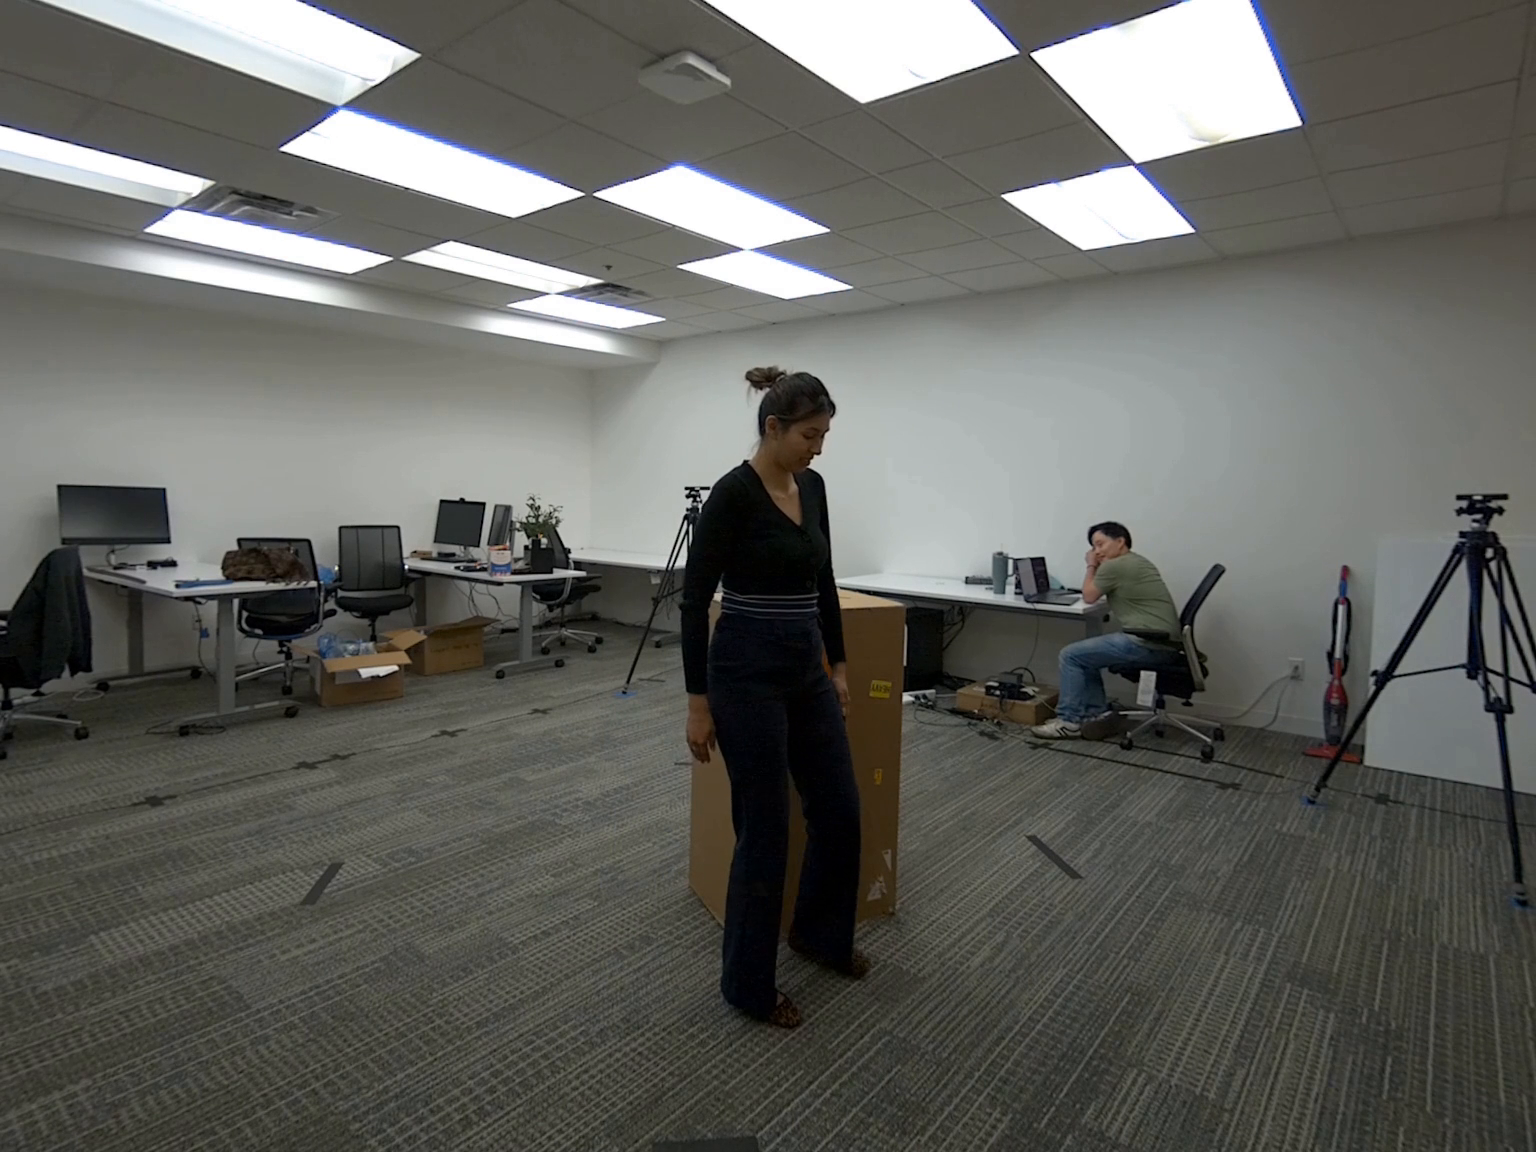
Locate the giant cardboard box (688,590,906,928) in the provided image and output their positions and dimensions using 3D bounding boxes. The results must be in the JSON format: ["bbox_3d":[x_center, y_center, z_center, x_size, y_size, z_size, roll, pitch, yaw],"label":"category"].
[{"bbox_3d":[0.079,0.583,2.856,0.564,1.023,0.438,0,3,-25],"label":"giant cardboard box"}]
